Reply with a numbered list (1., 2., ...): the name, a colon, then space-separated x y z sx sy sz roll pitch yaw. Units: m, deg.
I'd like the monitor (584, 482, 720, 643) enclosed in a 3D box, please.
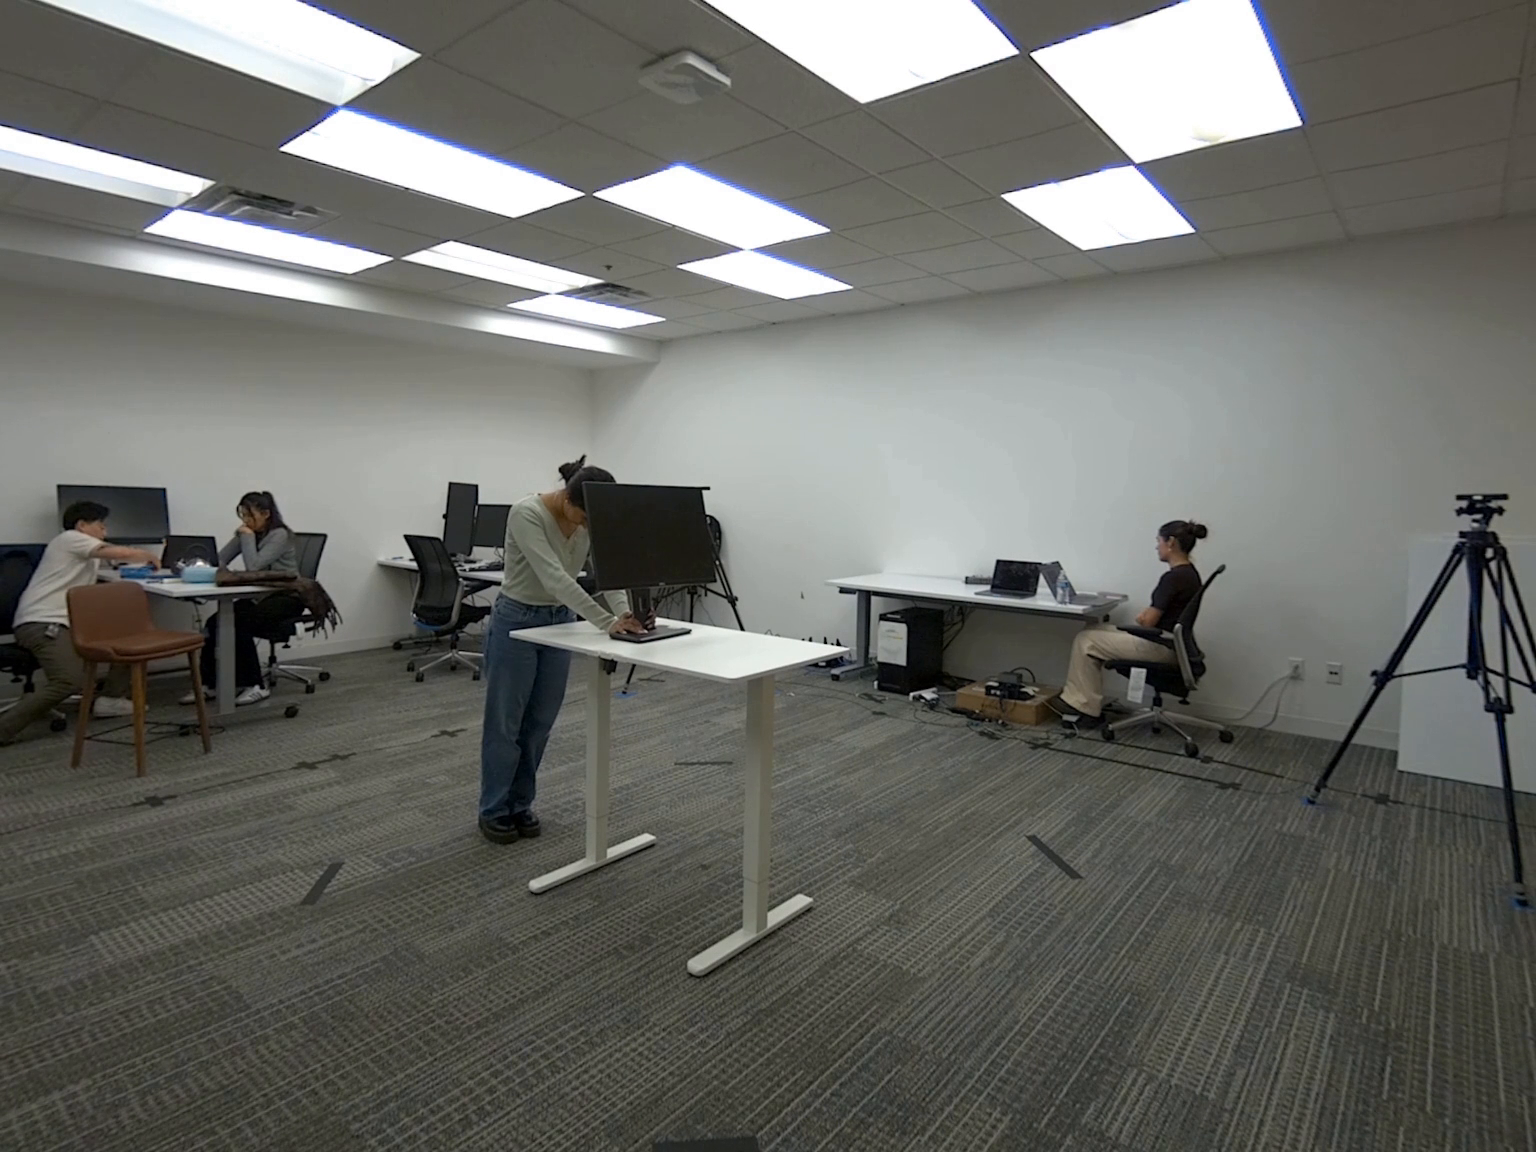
1. monitor: -0.419 -0.053 2.896 0.193 0.521 0.523 3 4 39
